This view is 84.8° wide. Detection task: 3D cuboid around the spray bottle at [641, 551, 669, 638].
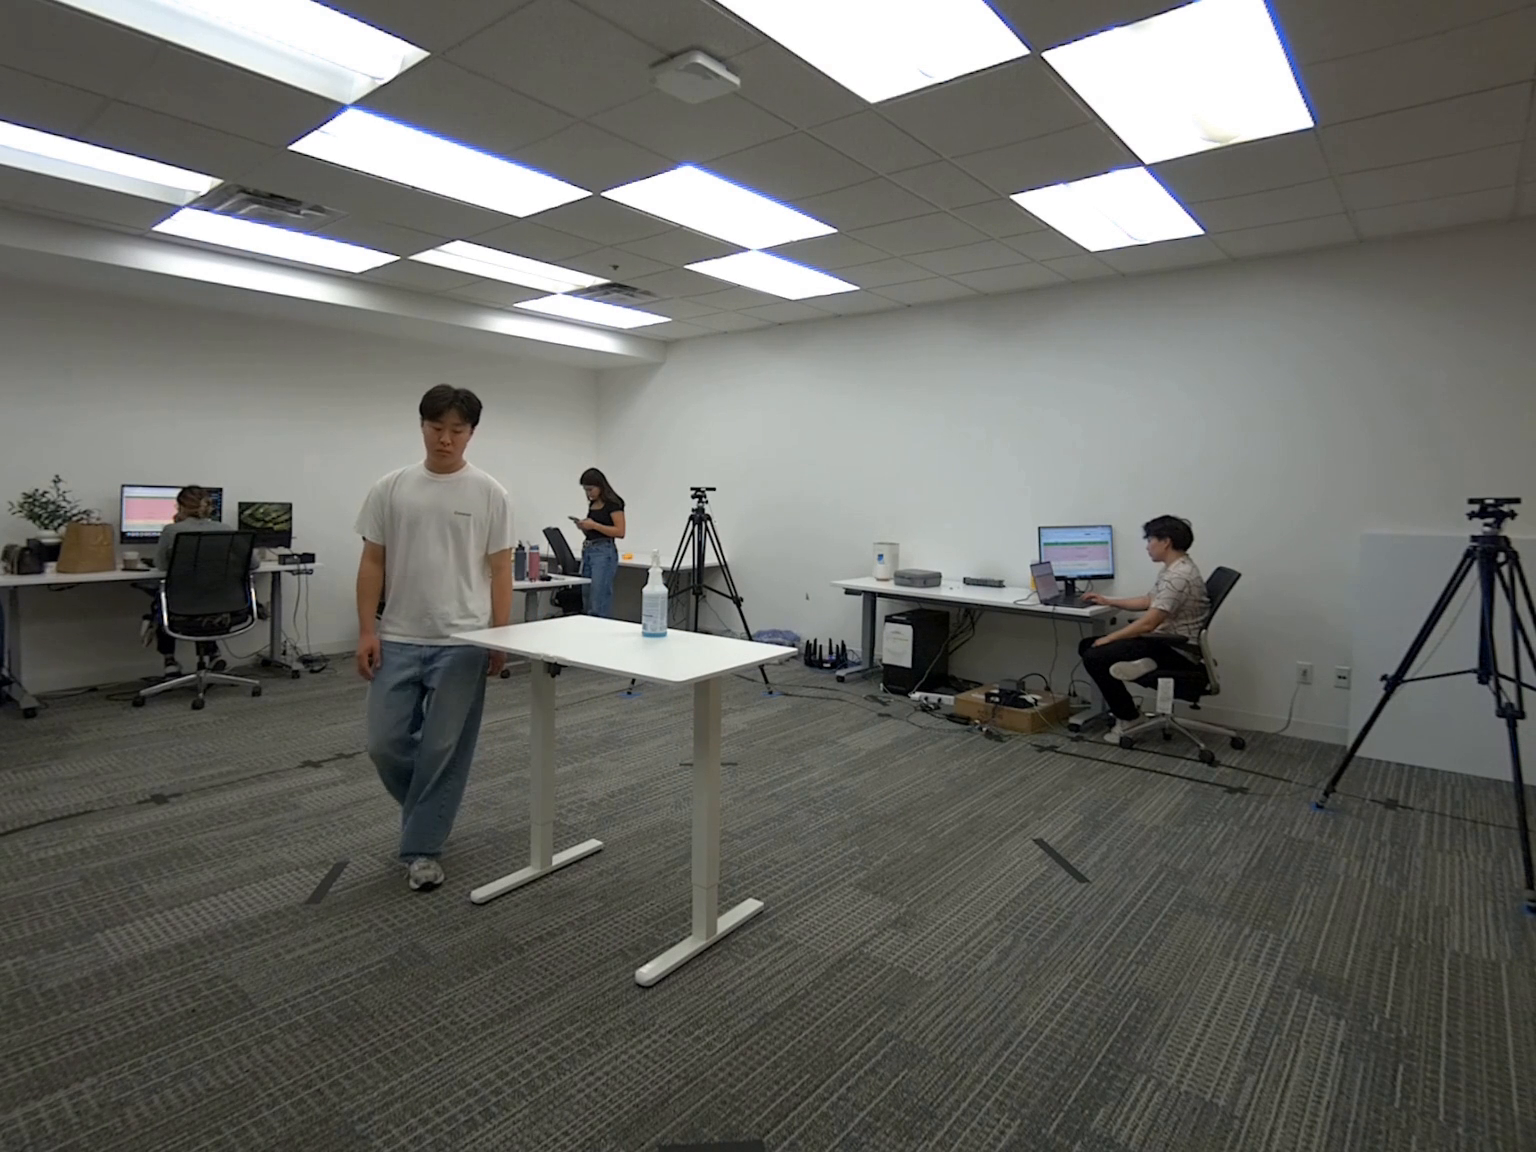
[{"bbox_3d":[-0.395,0.056,2.898,0.089,0.296,0.088,2,5,24],"label":"spray bottle"}]
